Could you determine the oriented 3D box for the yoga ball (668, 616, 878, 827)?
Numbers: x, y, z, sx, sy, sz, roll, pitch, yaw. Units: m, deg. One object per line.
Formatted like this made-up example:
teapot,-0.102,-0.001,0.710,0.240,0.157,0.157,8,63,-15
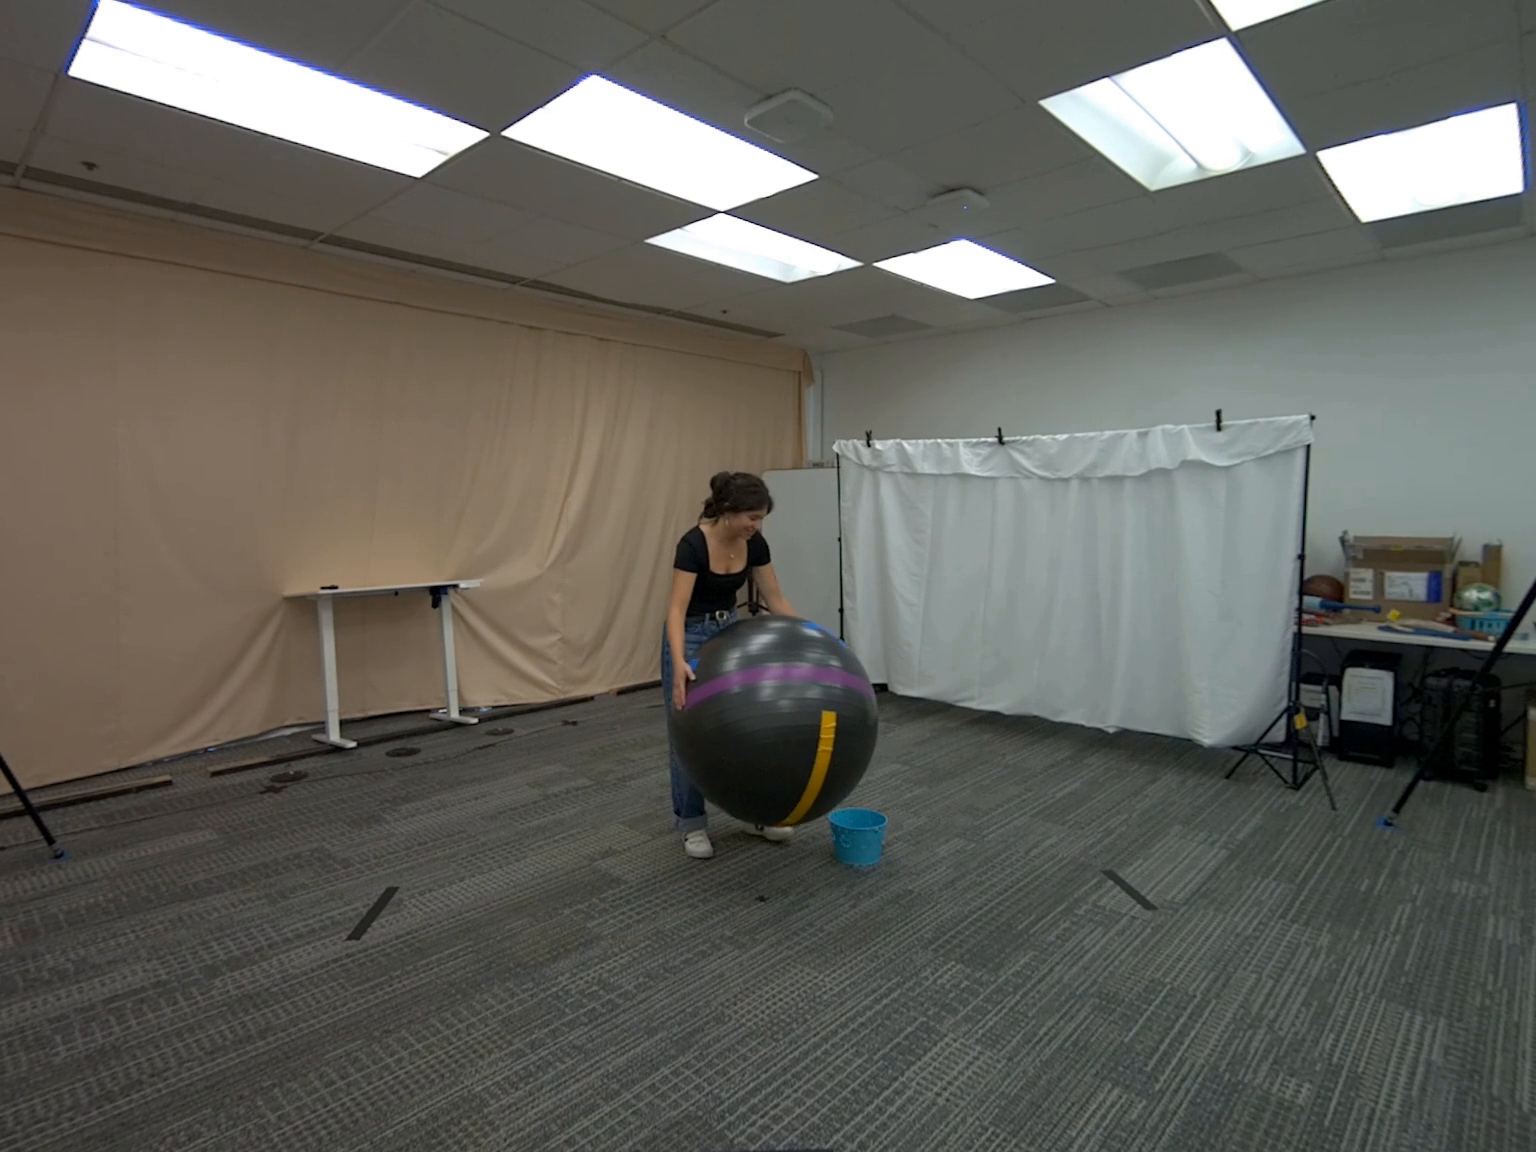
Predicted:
yoga ball,0.030,0.533,3.086,0.757,0.756,0.760,0,4,-2
